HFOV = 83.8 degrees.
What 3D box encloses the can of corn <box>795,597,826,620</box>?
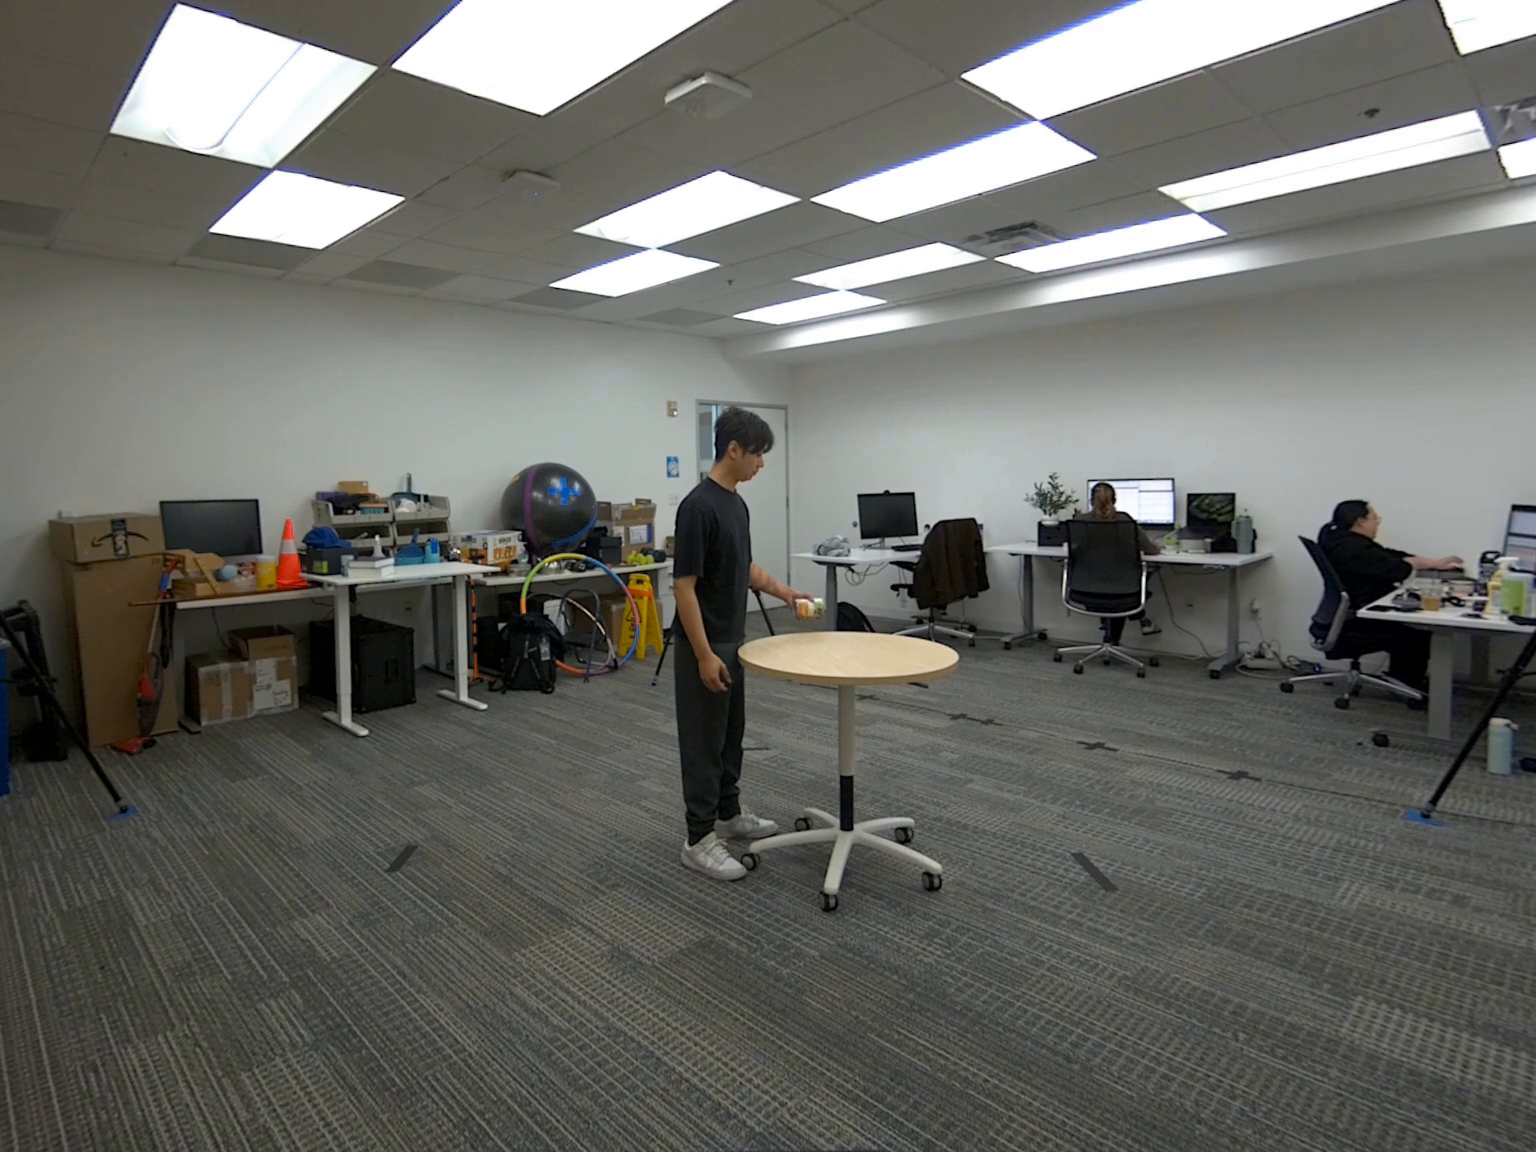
[{"bbox_3d":[0.161,0.130,3.408,0.110,0.074,0.075,-1,5,-9],"label":"can of corn"}]
